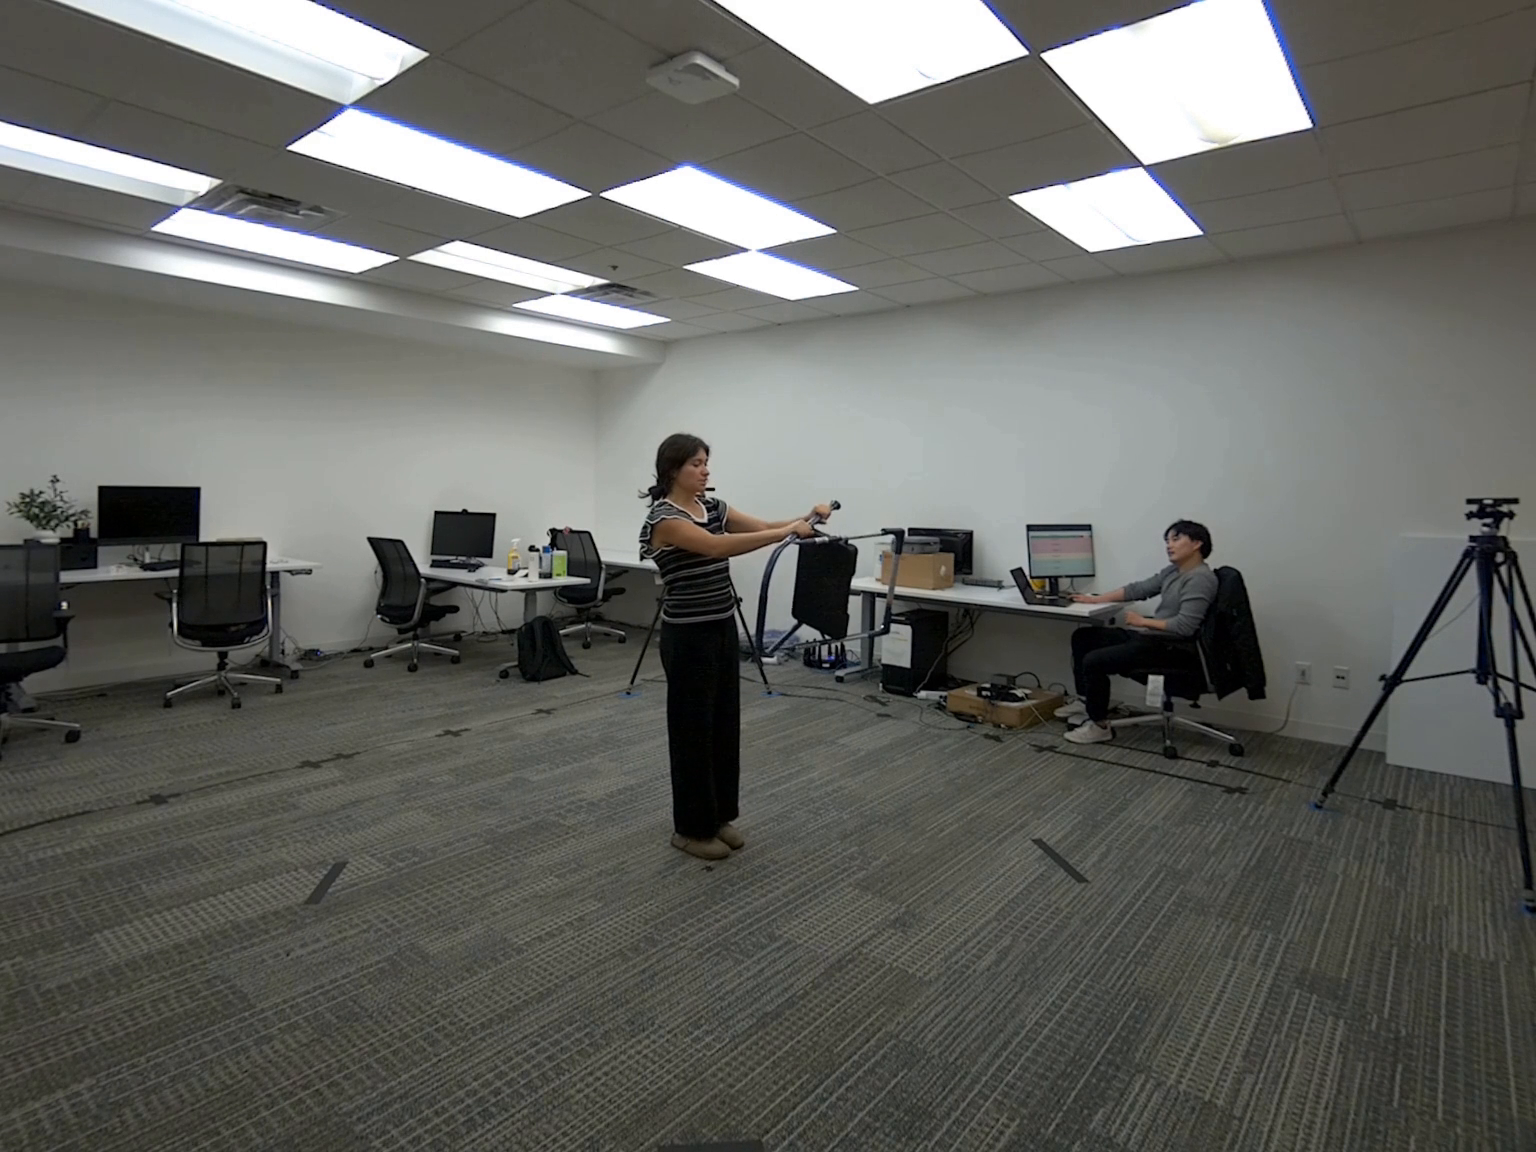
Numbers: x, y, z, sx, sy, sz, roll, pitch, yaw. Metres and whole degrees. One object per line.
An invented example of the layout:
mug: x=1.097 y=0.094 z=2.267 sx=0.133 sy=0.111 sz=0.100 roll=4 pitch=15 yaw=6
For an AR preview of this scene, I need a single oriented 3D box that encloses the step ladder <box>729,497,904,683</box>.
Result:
step ladder: x=0.123 y=0.021 z=2.975 sx=0.592 sy=0.423 sz=0.364 roll=-16 pitch=29 yaw=-41
